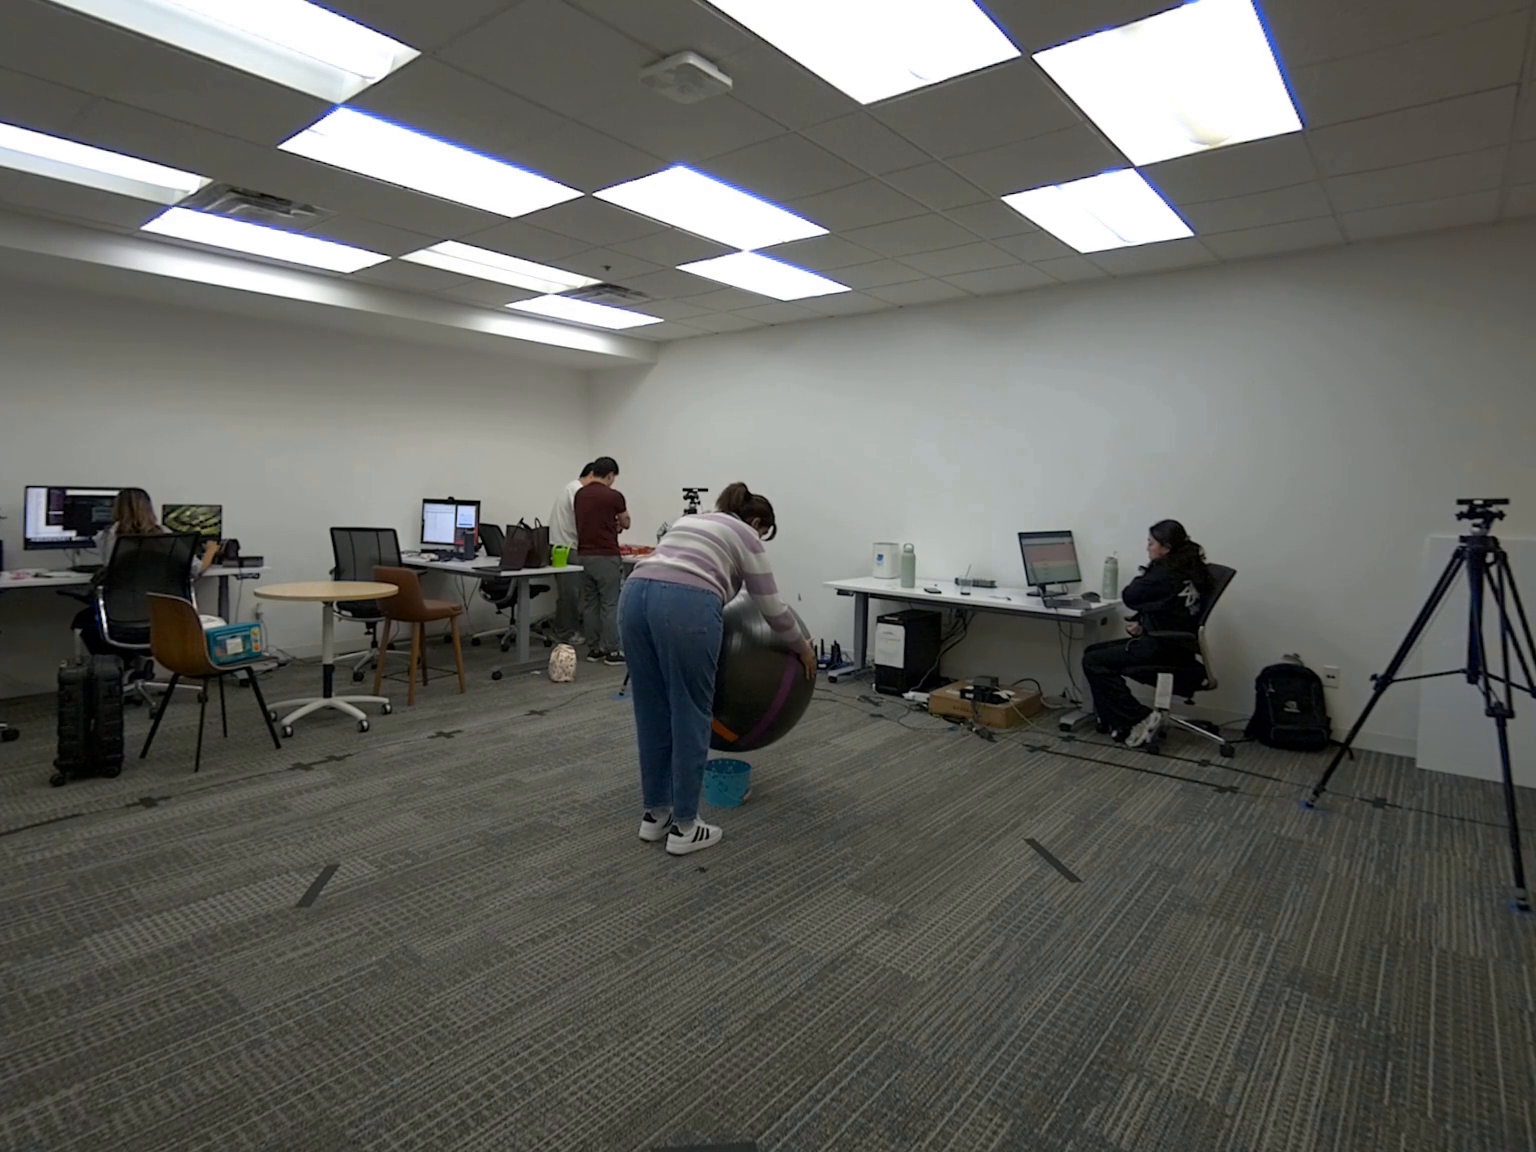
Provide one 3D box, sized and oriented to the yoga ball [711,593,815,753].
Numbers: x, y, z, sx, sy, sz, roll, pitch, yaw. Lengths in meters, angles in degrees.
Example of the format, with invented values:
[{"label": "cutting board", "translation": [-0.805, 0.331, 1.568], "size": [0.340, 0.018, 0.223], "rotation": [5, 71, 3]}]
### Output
[{"label": "yoga ball", "translation": [-0.159, 0.415, 3.908], "size": [0.757, 0.756, 0.761], "rotation": [1, 4, -2]}]
